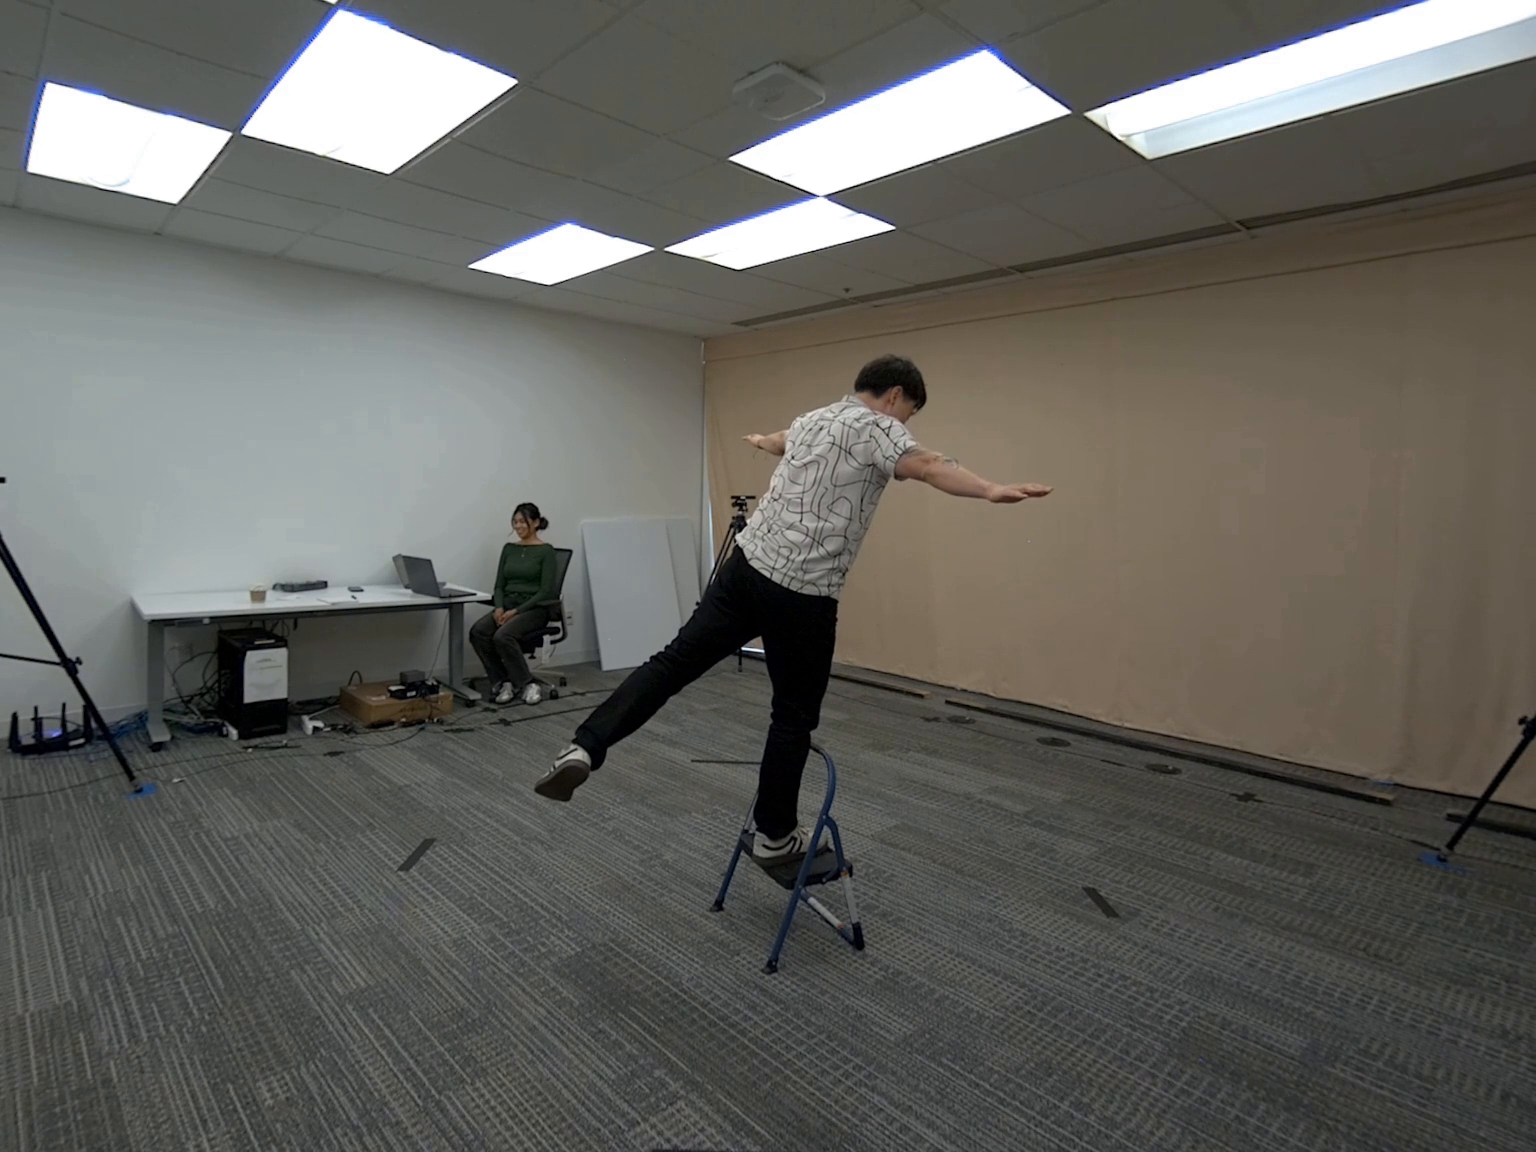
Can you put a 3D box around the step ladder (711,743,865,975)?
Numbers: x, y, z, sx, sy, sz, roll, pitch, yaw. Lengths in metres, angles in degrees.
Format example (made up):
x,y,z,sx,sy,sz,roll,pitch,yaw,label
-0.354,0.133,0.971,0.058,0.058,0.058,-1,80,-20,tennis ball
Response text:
x,y,z,sx,sy,sz,roll,pitch,yaw,label
0.057,0.842,2.703,0.343,0.604,0.440,-1,5,-27,step ladder
